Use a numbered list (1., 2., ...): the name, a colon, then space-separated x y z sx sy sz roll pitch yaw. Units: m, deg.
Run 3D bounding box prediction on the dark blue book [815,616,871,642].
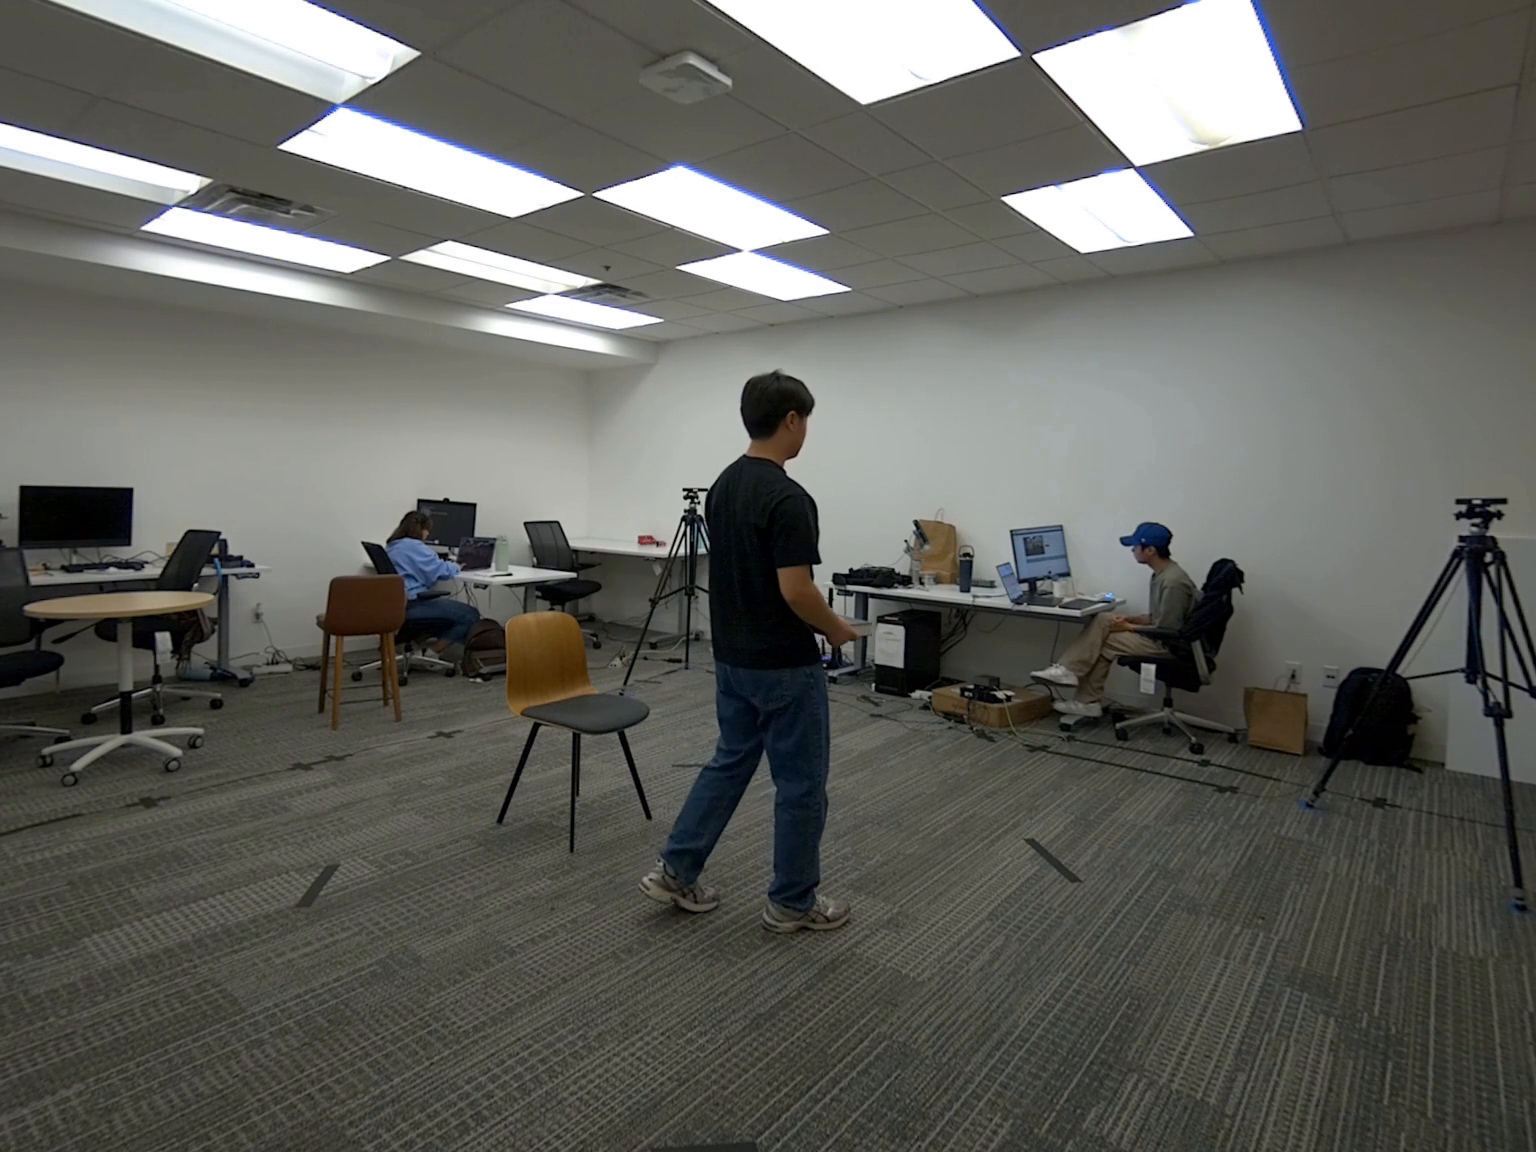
1. dark blue book: 0.200 0.170 2.837 0.159 0.045 0.253 -1 8 -30
